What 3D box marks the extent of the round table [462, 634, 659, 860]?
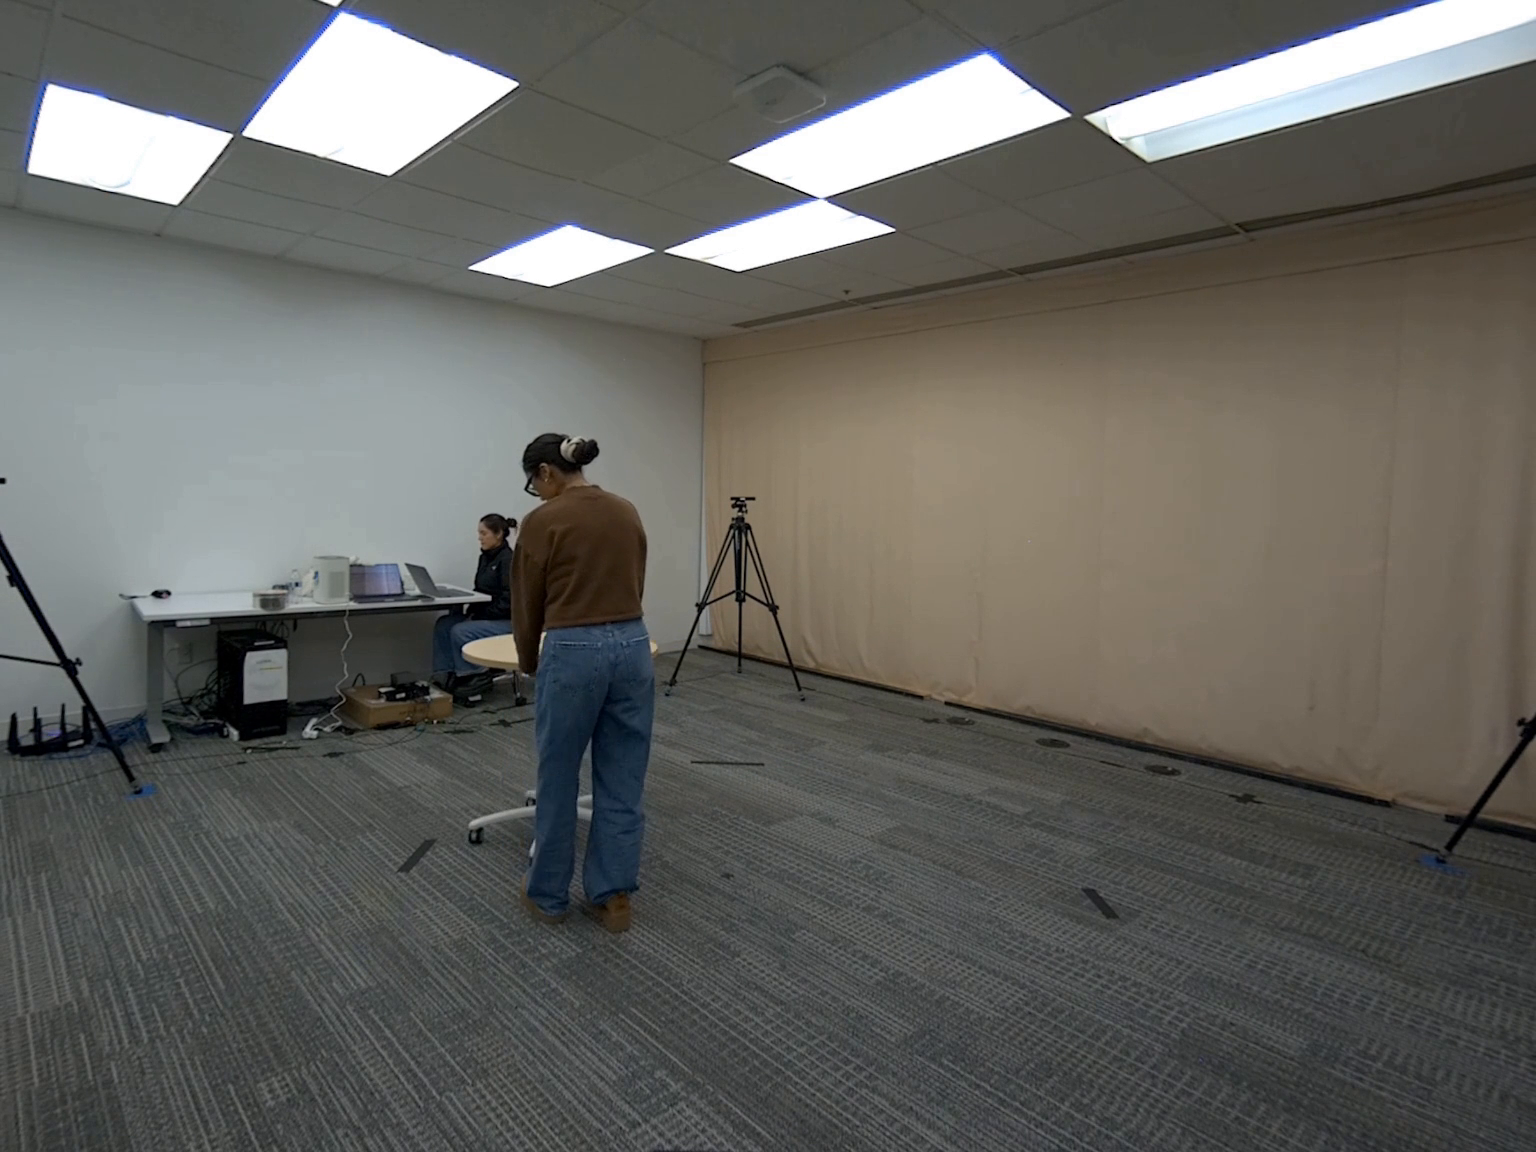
[{"bbox_3d":[-0.841,0.678,3.400,0.763,0.792,0.766,1,4,-1],"label":"round table"}]
